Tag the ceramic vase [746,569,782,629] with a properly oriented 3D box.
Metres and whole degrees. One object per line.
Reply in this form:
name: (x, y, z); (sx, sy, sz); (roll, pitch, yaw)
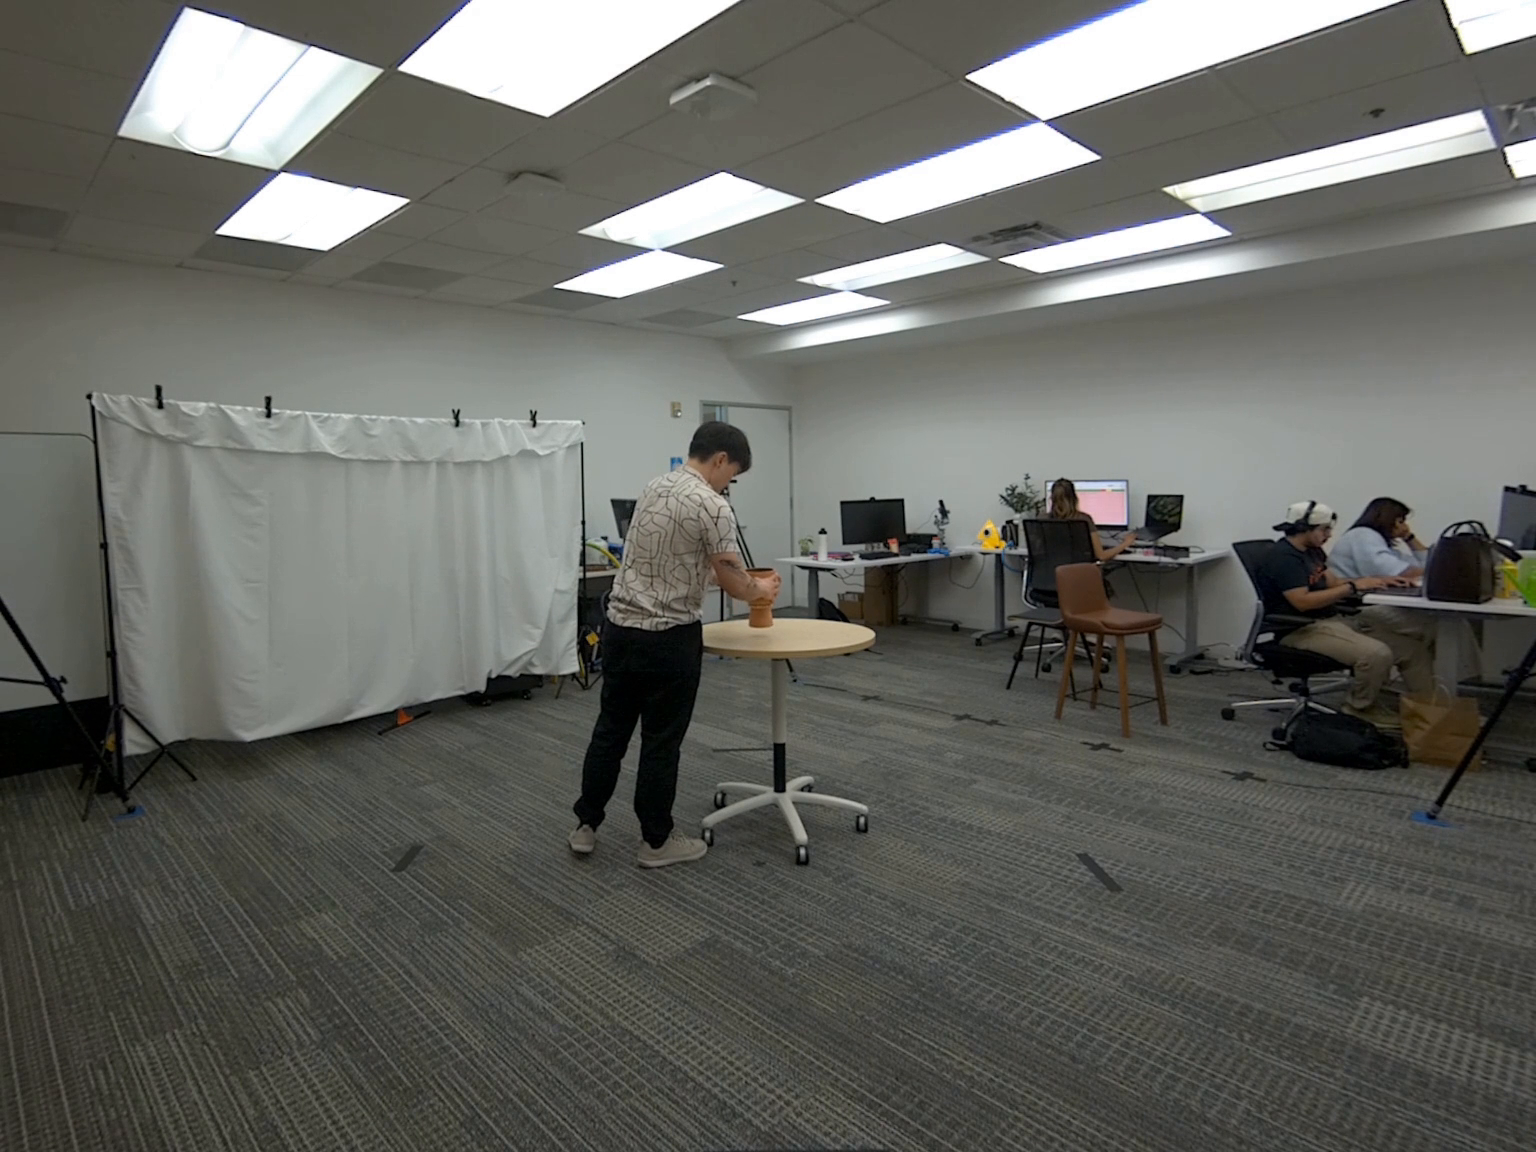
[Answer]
ceramic vase: (-0.024, 0.085, 3.340); (0.159, 0.218, 0.135); (-1, 7, 3)
